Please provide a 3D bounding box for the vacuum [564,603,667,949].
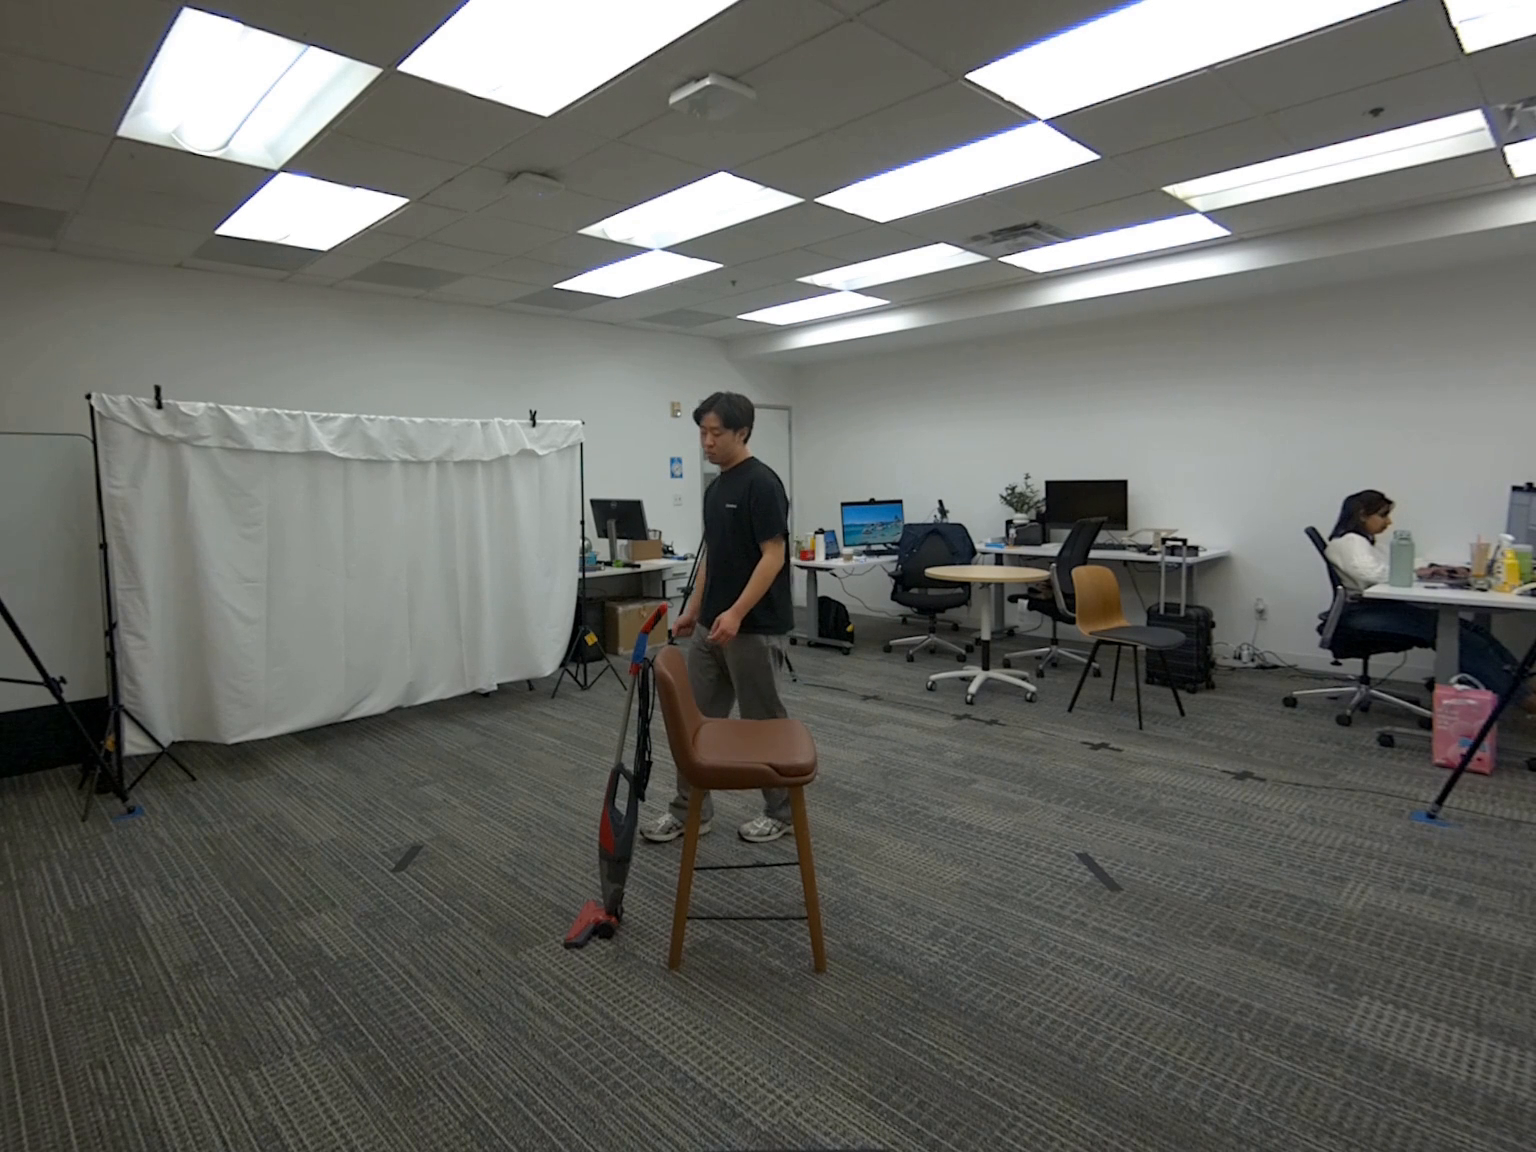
[{"bbox_3d":[-0.433,0.597,2.641,0.144,1.045,0.254,11,5,-3],"label":"vacuum"}]
